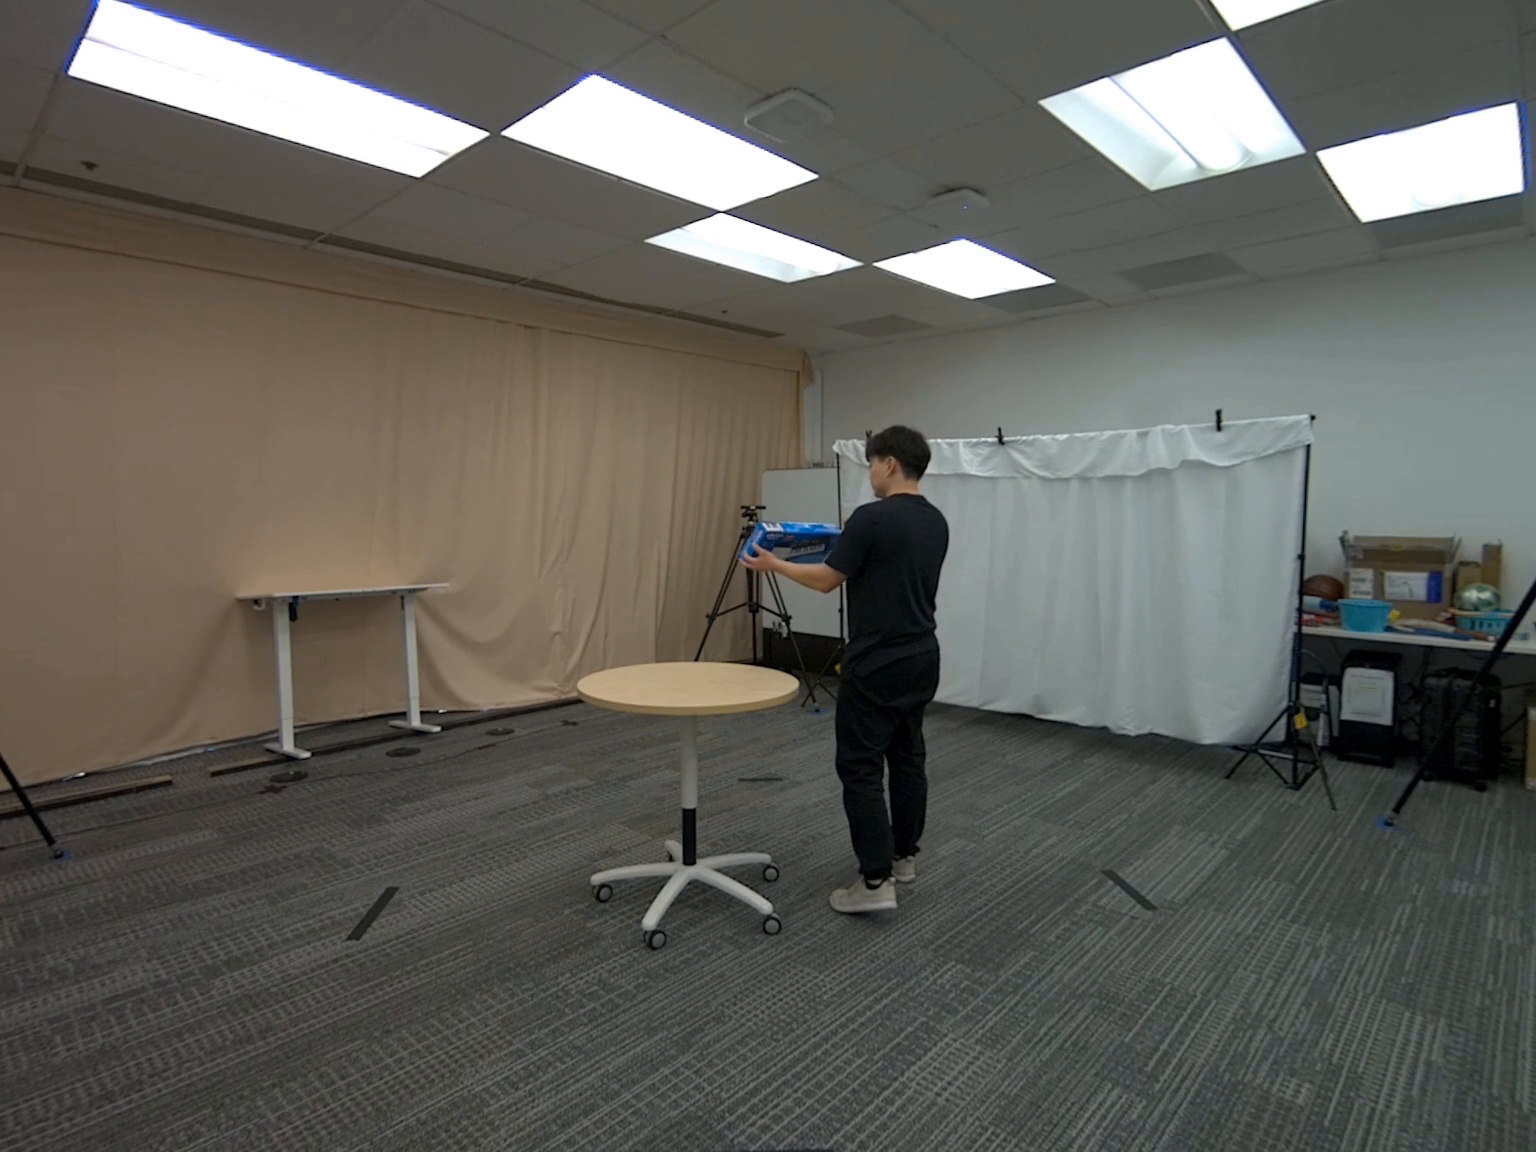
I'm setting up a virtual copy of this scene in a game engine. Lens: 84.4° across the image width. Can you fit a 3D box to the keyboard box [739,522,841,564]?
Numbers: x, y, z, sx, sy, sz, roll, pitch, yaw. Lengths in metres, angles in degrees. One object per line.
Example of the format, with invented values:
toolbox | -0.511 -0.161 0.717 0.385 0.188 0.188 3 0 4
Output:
keyboard box | 0.095 -0.121 3.331 0.423 0.176 0.061 -1 45 -43
